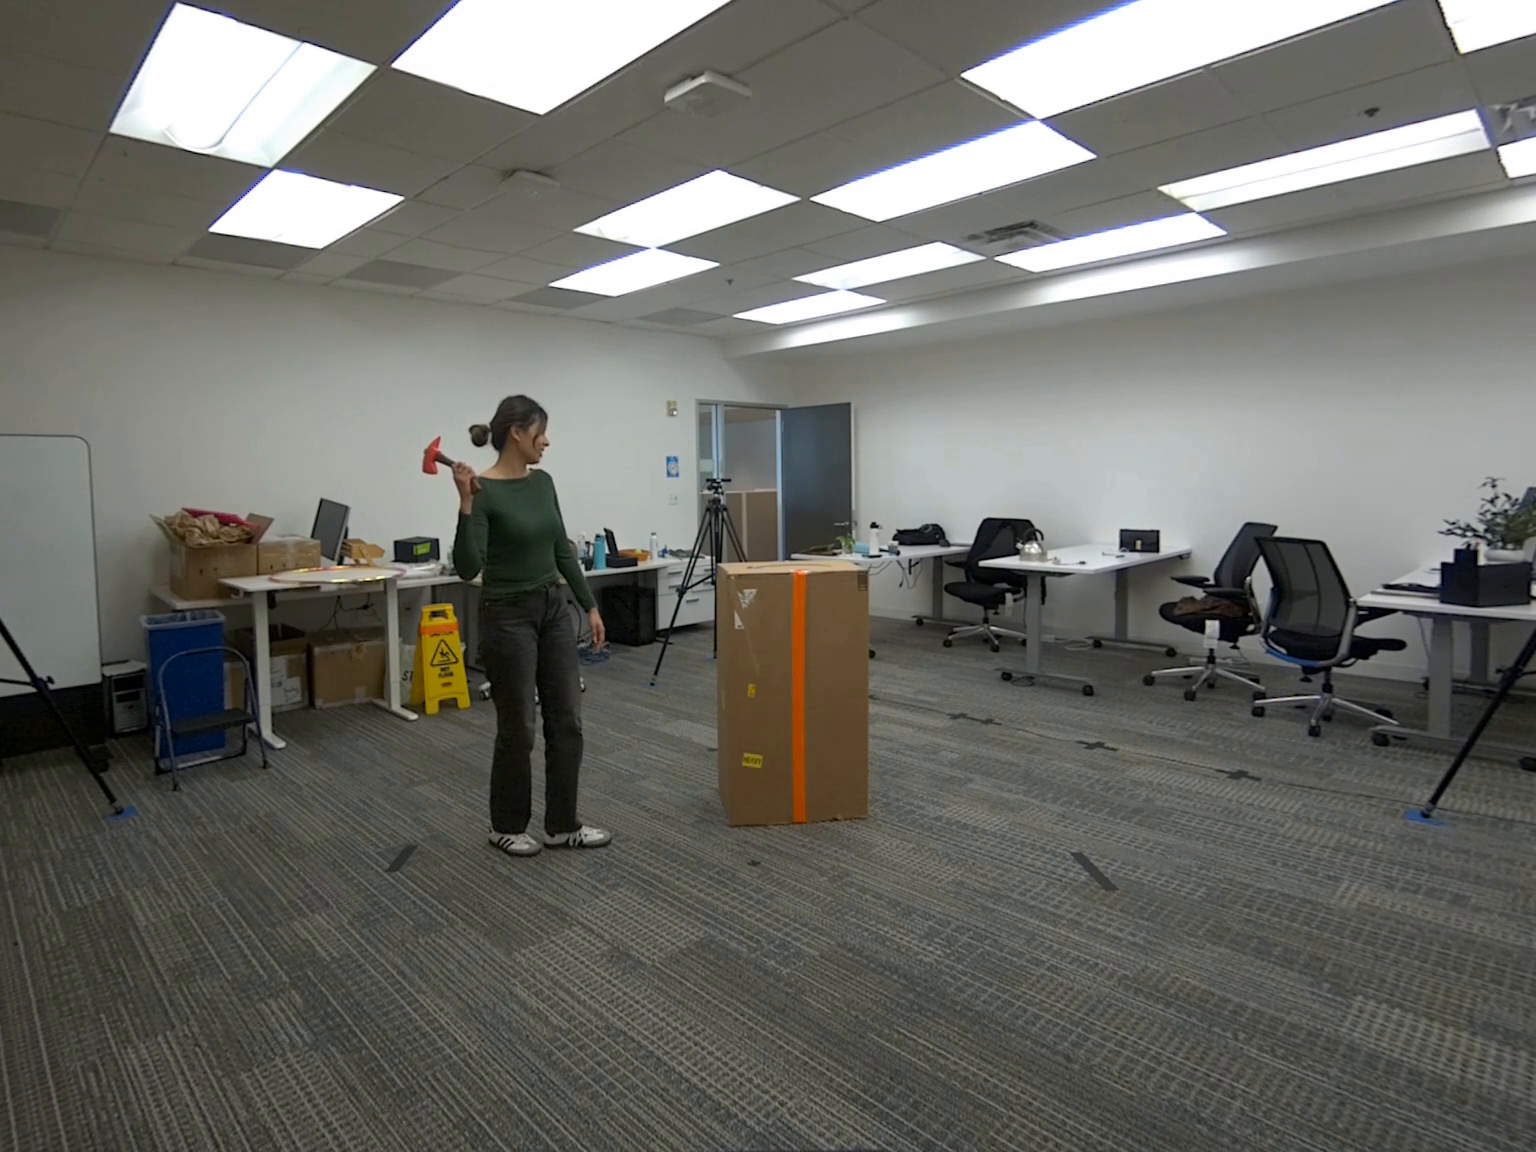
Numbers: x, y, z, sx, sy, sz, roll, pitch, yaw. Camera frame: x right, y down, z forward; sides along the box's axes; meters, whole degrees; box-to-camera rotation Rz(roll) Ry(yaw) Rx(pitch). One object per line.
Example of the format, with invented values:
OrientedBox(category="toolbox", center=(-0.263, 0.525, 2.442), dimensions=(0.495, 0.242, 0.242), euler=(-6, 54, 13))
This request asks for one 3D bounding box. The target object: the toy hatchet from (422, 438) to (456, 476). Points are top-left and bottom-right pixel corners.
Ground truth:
OrientedBox(category="toy hatchet", center=(-1.069, -0.341, 2.886), dimensions=(0.276, 0.131, 0.029), euler=(46, 10, 16))
